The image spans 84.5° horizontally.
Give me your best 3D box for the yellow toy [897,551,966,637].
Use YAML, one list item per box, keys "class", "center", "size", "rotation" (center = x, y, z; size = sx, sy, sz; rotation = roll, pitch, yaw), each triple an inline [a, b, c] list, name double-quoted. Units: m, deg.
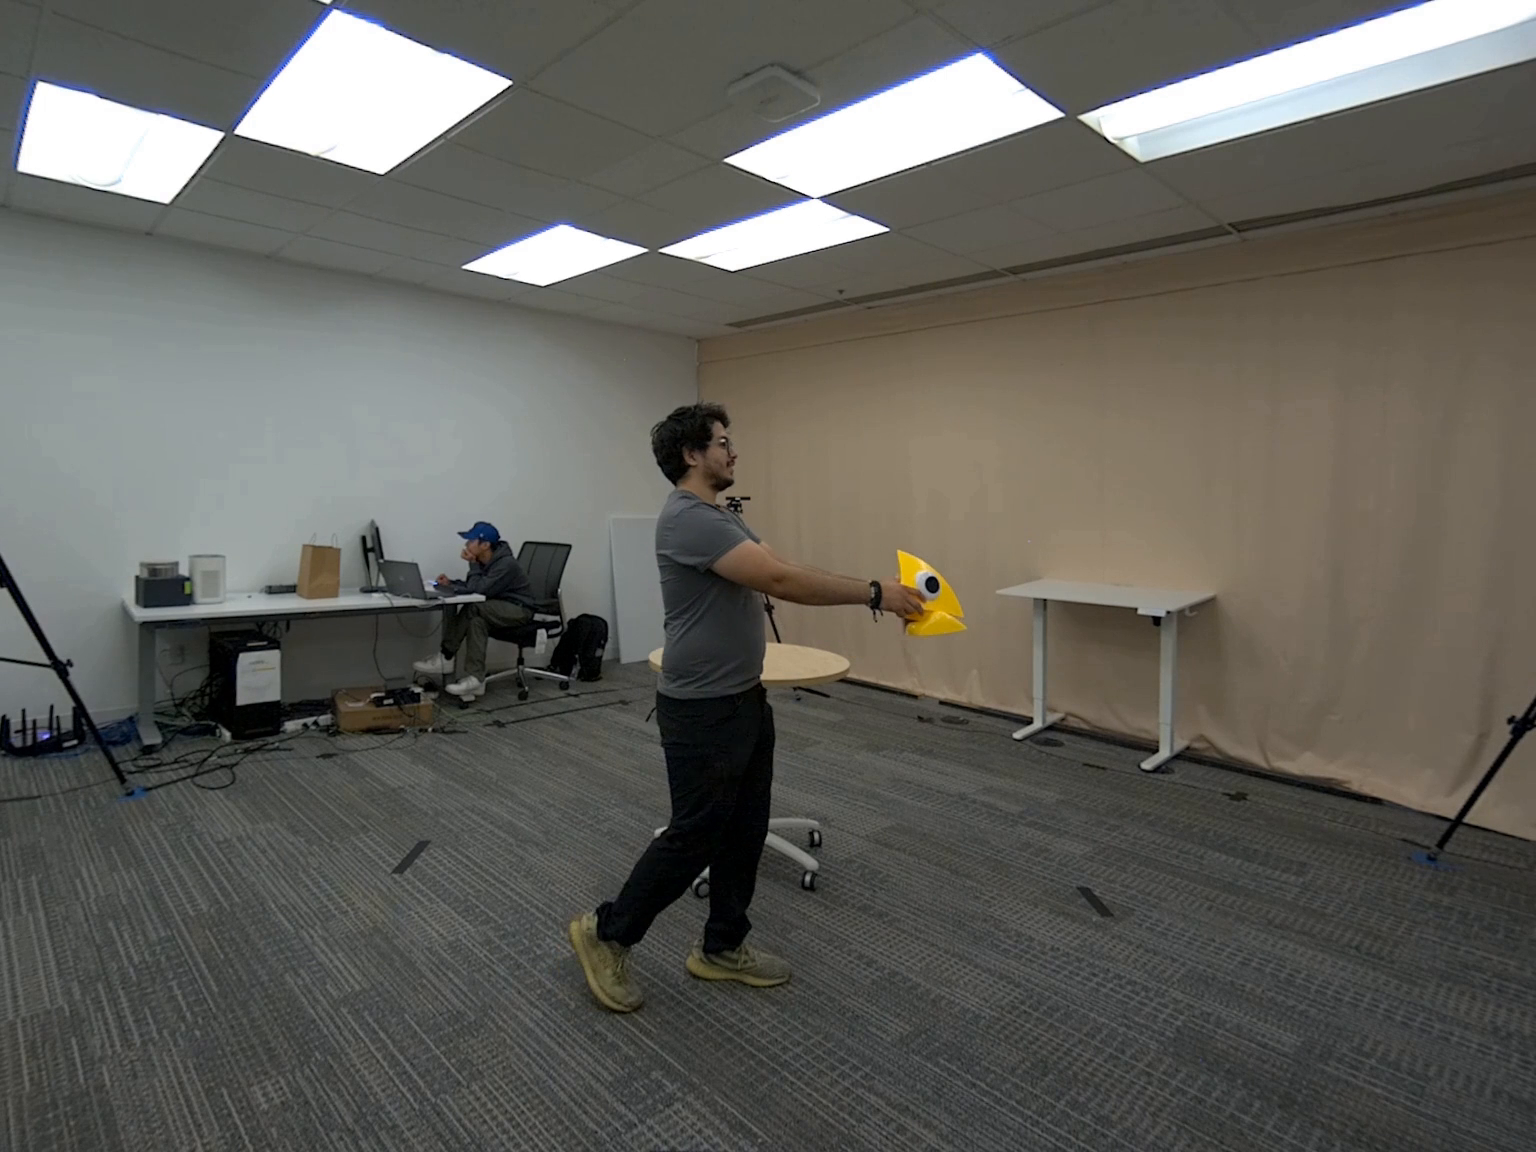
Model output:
- class: "yellow toy"
  center: [0.423, 0.041, 2.311]
  size: [0.194, 0.230, 0.204]
  rotation: [-6, 1, 4]
